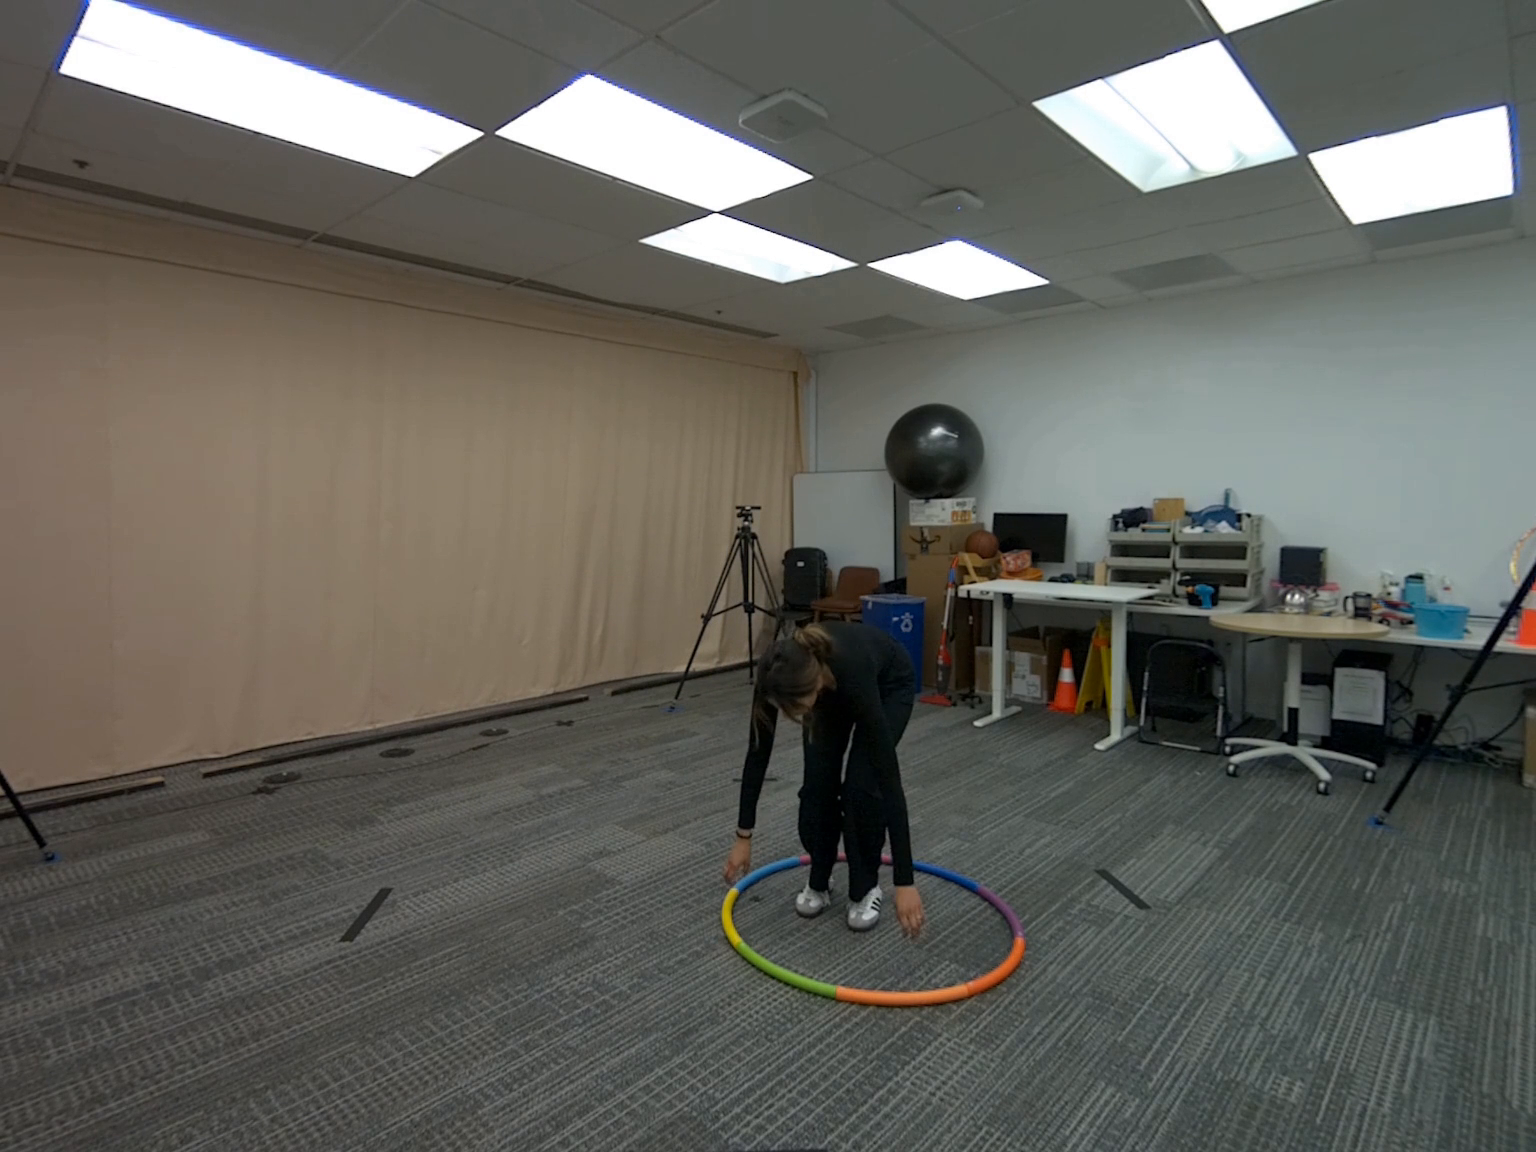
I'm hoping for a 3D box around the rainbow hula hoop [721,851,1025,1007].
[{"bbox_3d":[0.333,1.128,2.825,0.978,0.035,0.982,0,5,-2],"label":"rainbow hula hoop"}]
